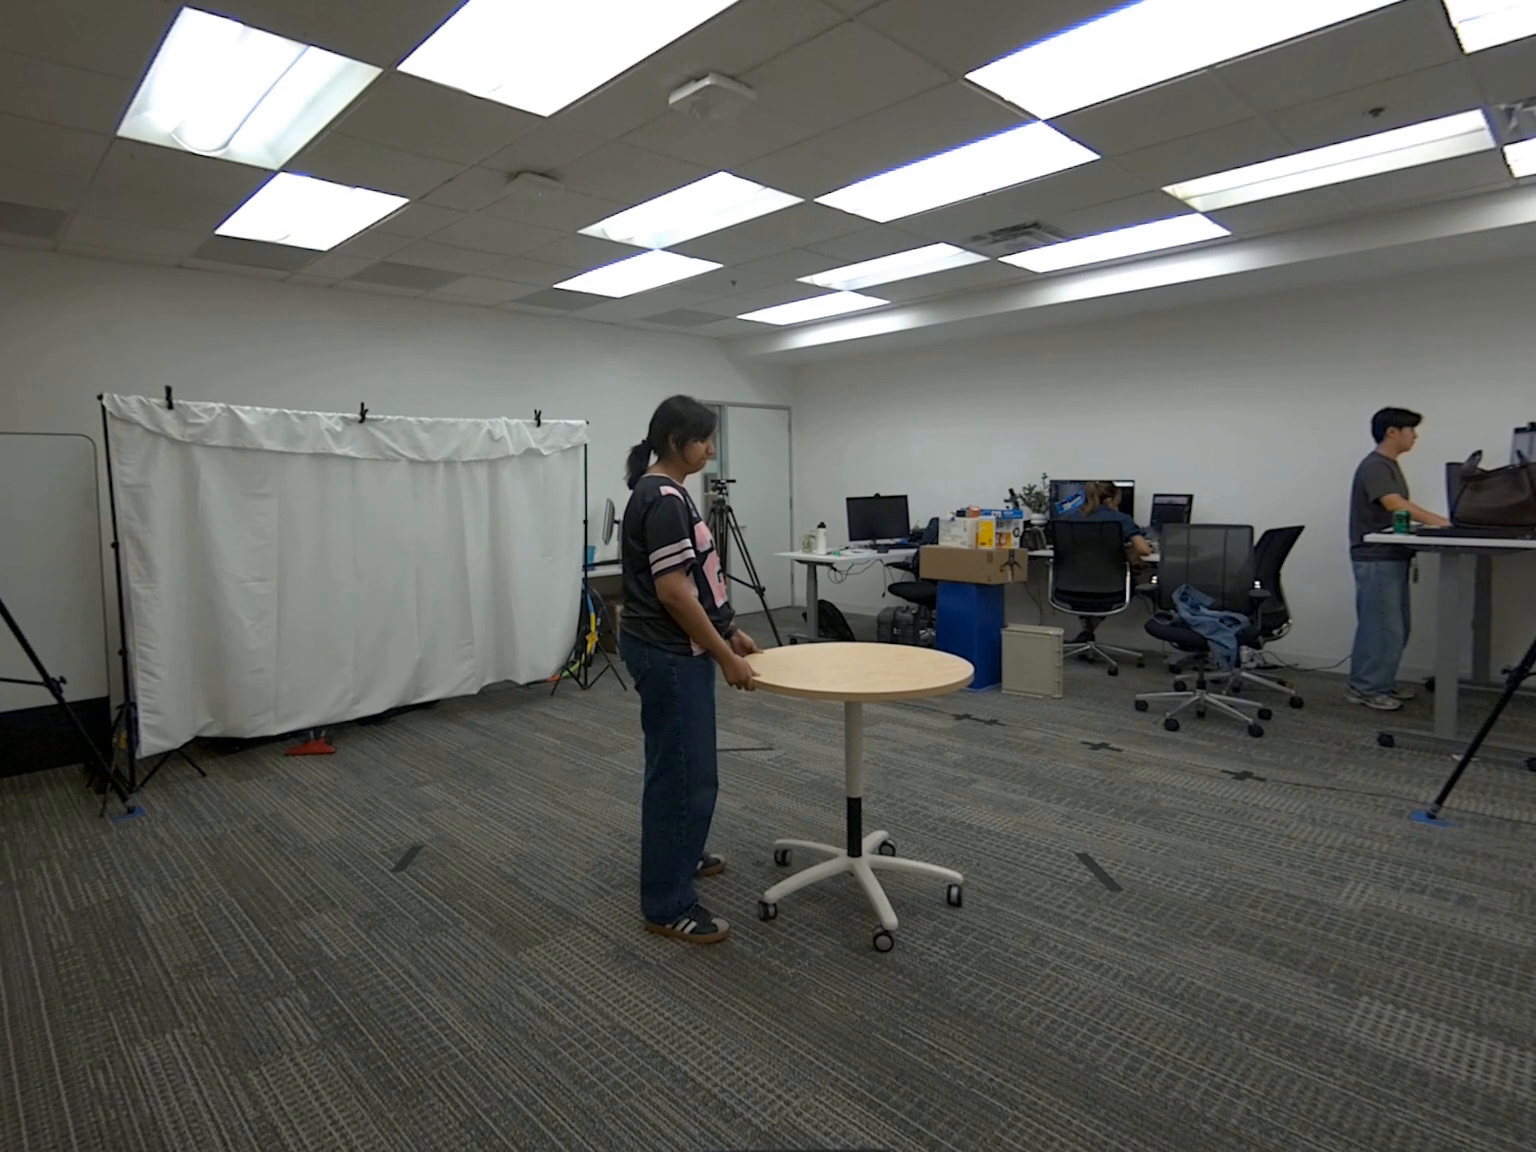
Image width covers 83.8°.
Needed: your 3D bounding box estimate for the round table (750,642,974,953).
[{"bbox_3d":[0.286,0.679,2.833,0.763,0.791,0.768,-1,5,-2],"label":"round table"}]
